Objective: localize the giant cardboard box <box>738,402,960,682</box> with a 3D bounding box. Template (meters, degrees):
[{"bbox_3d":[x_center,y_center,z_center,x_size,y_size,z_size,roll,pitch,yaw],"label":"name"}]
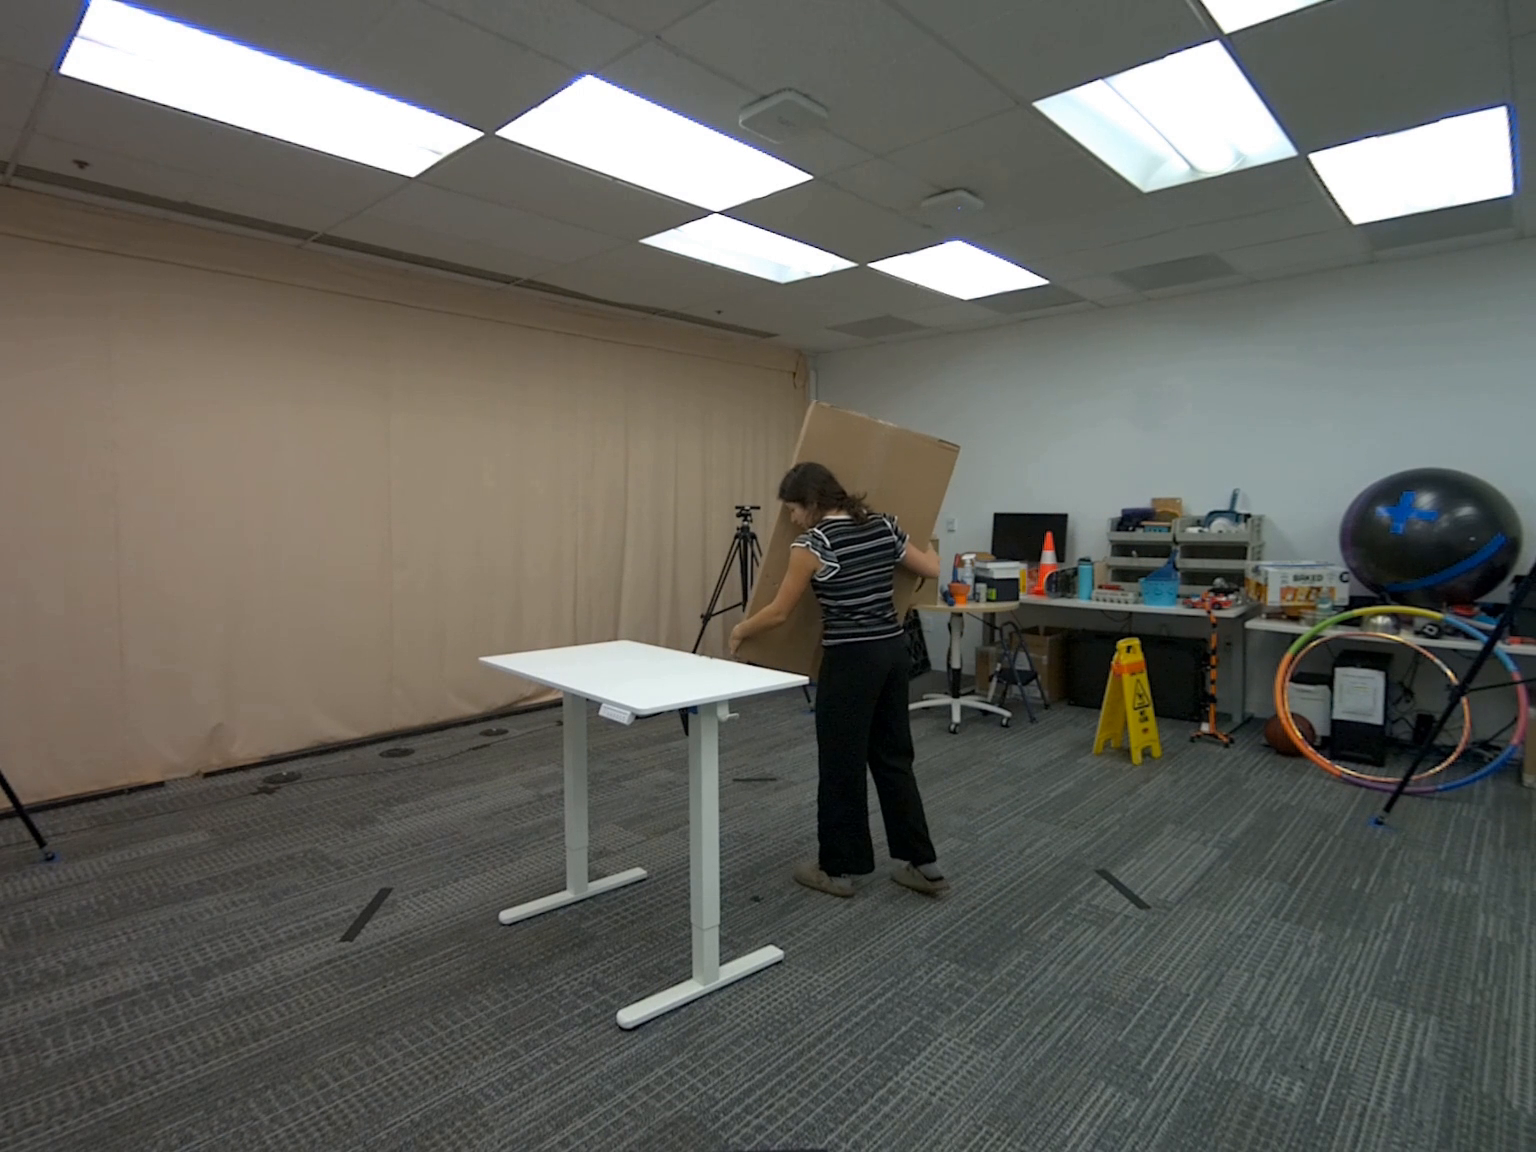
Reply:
[{"bbox_3d":[0.299,-0.103,3.379,0.580,1.024,0.425,18,4,2],"label":"giant cardboard box"}]
